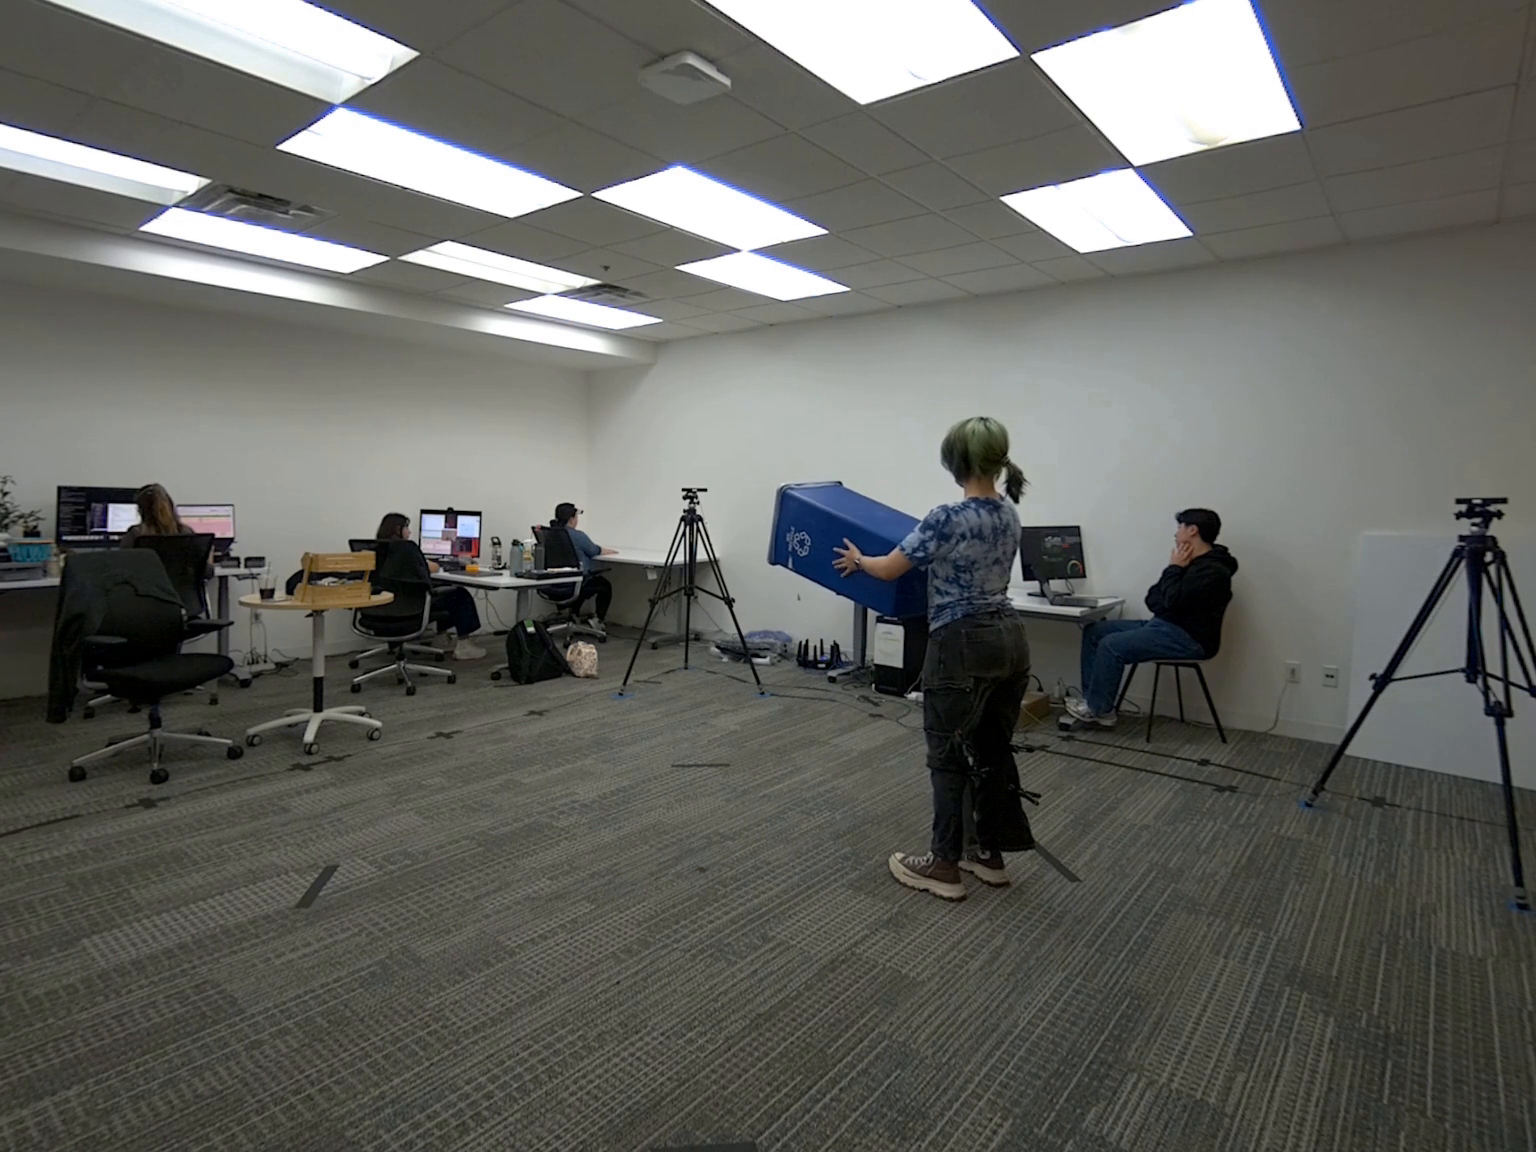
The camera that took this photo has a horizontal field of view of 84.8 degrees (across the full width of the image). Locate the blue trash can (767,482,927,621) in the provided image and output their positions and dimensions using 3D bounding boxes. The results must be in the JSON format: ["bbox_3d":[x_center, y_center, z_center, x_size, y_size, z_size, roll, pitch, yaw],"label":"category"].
[{"bbox_3d":[0.371,-0.128,3.481,0.368,0.369,0.743,-8,23,-37],"label":"blue trash can"}]
